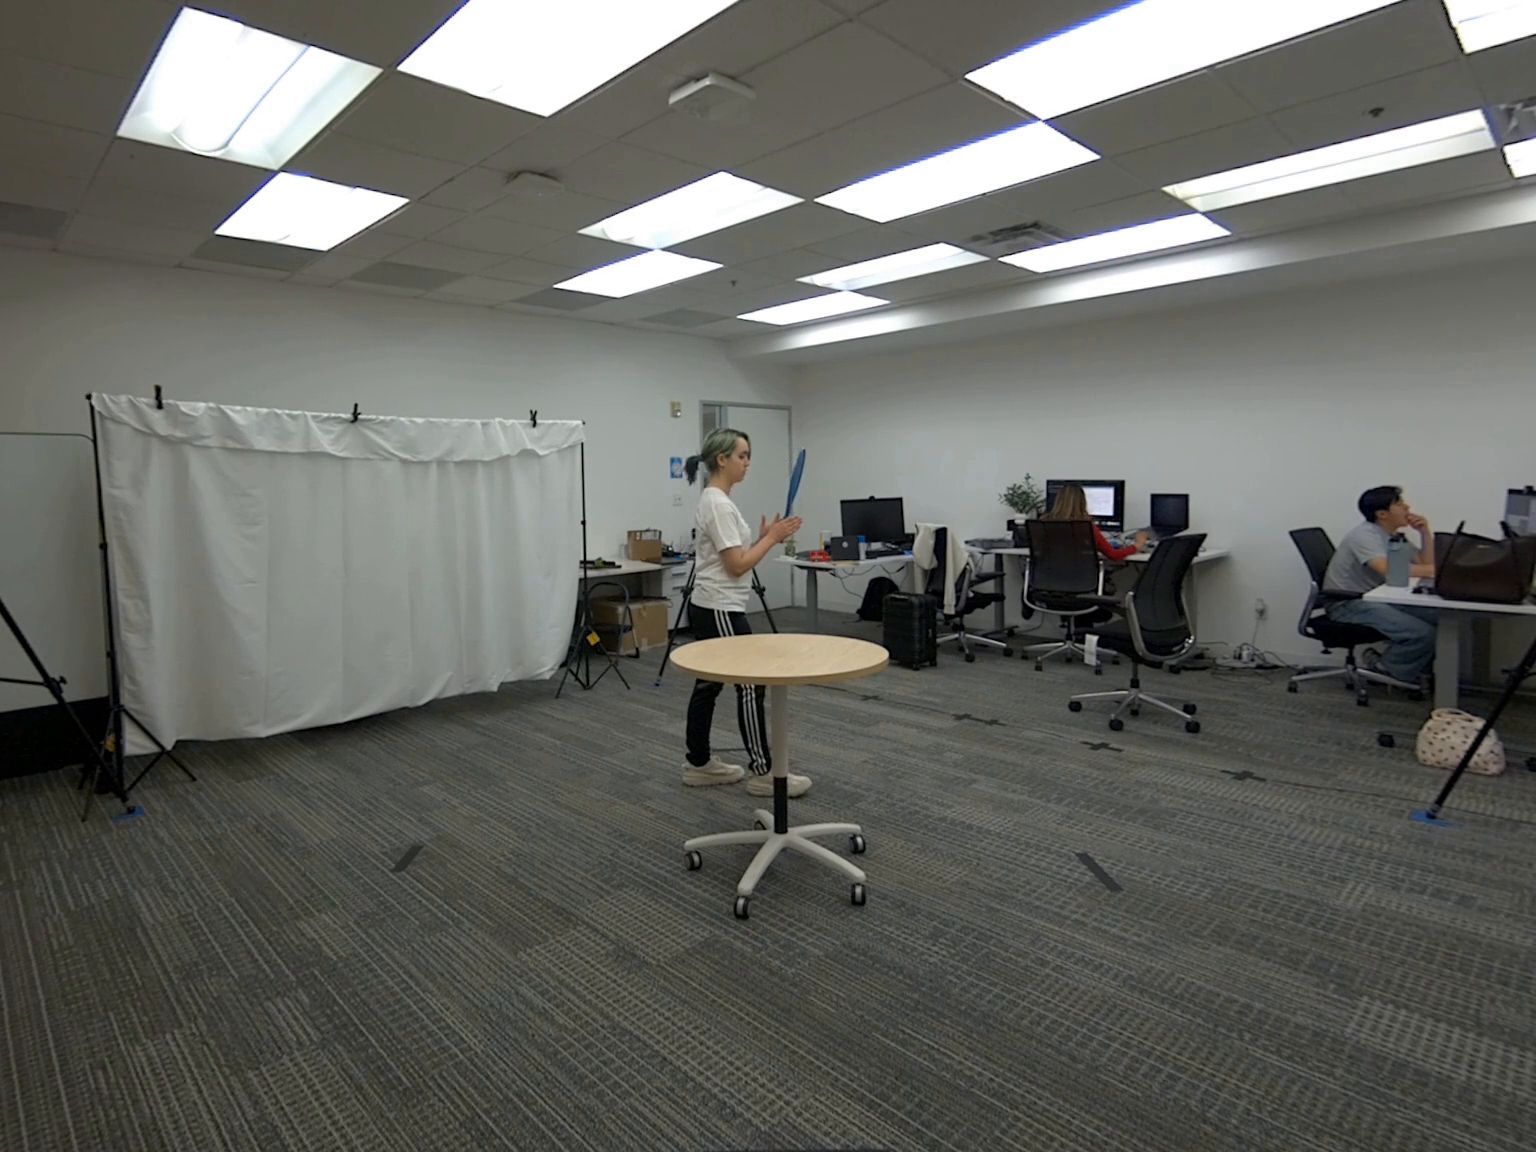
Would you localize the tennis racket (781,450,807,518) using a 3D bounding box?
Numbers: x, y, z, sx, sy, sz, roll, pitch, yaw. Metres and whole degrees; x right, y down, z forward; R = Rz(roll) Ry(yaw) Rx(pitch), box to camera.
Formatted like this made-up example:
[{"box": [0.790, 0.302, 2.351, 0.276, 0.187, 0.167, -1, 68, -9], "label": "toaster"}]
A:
[{"box": [0.105, -0.358, 3.790, 0.032, 0.431, 0.212, 9, 5, 9], "label": "tennis racket"}]
